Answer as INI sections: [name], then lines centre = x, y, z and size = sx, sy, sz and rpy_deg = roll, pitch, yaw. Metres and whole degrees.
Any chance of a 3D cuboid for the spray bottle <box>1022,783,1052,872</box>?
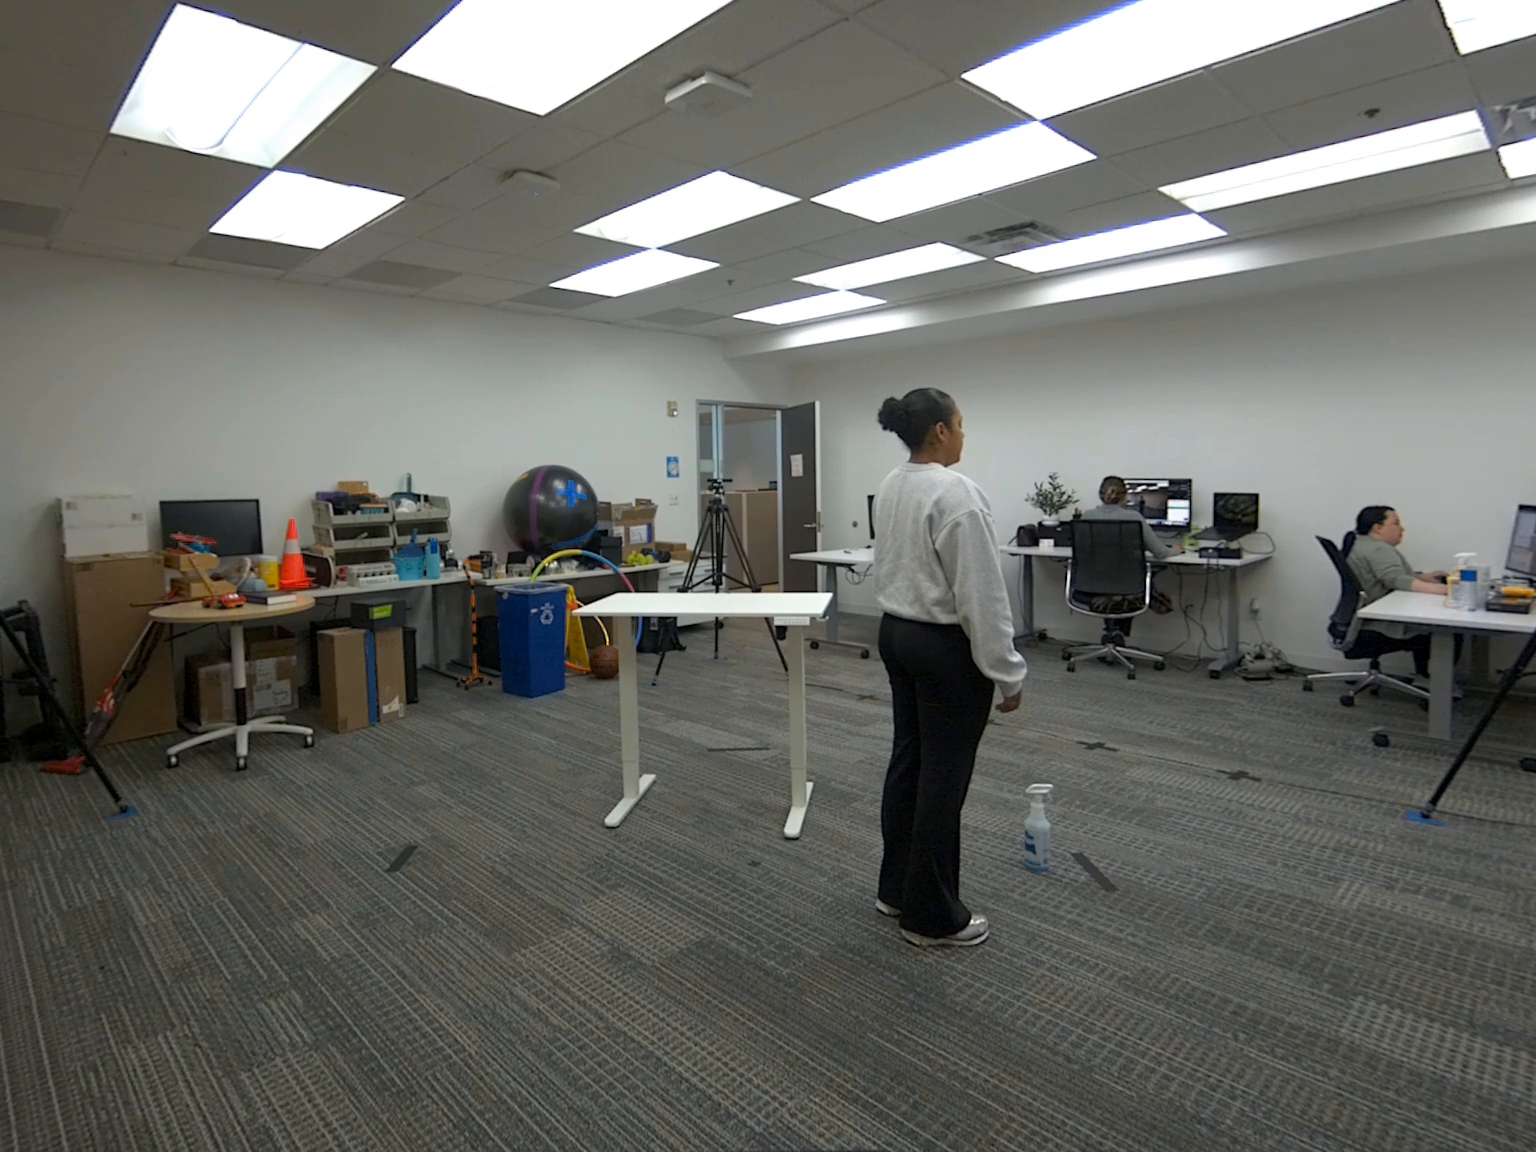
[spray bottle]
centre = 0.965, 0.893, 3.040
size = 0.092, 0.296, 0.085
rpy_deg = 2, 4, 32
